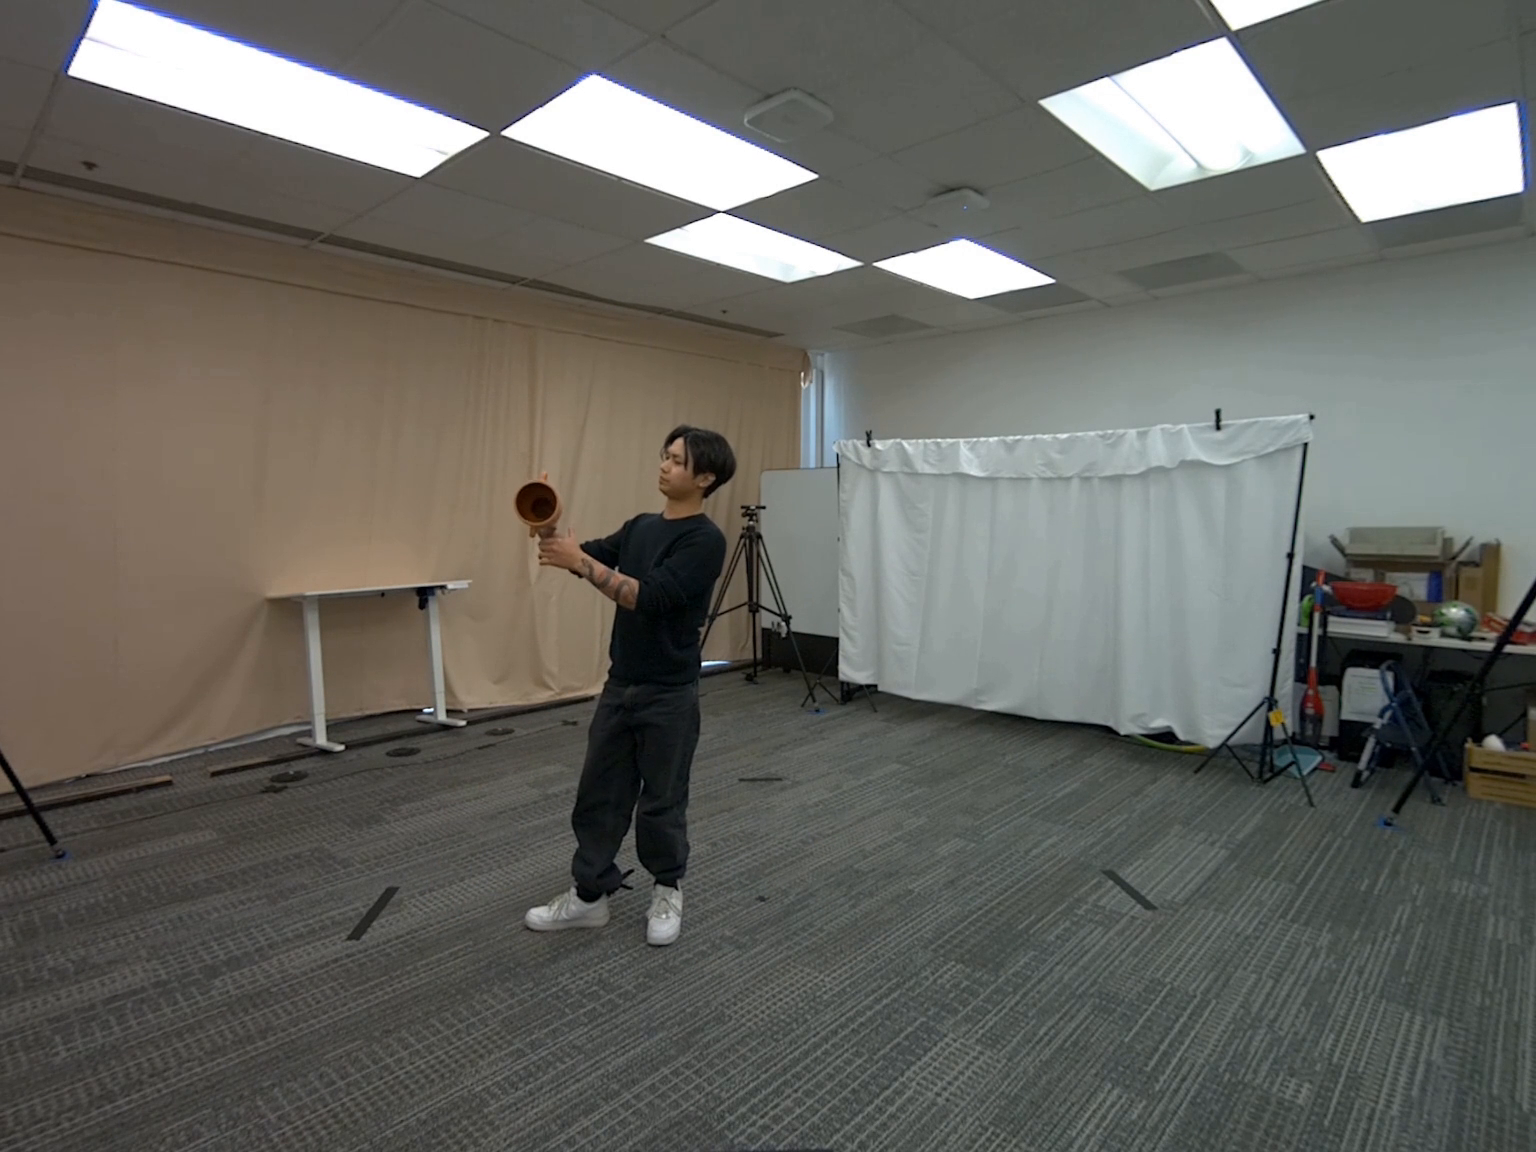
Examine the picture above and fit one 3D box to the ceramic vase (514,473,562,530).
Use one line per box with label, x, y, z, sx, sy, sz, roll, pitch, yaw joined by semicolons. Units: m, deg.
ceramic vase;-0.680;-0.212;2.527;0.158;0.134;0.221;-41;4;-8
